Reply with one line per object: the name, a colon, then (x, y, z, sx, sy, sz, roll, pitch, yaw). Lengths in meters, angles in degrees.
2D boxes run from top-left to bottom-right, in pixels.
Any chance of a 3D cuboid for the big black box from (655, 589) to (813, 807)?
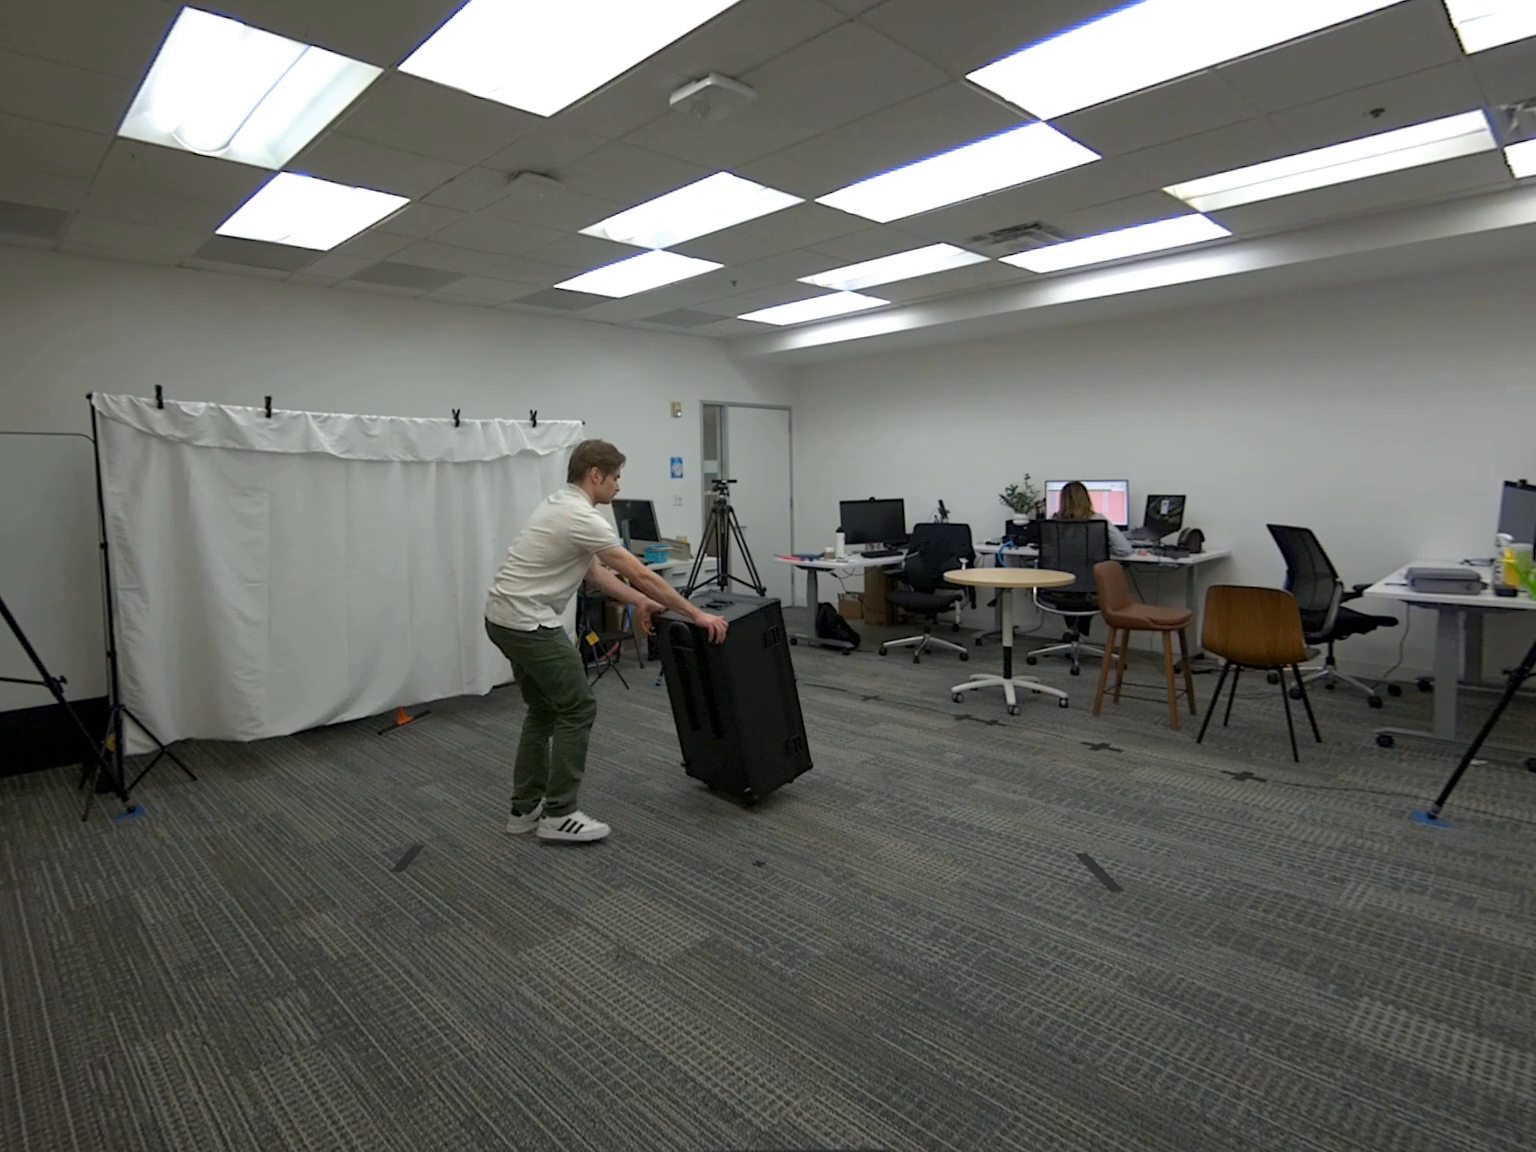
big black box: (-0.159, 0.540, 3.753, 0.389, 0.850, 0.537, -21, 16, -37)
